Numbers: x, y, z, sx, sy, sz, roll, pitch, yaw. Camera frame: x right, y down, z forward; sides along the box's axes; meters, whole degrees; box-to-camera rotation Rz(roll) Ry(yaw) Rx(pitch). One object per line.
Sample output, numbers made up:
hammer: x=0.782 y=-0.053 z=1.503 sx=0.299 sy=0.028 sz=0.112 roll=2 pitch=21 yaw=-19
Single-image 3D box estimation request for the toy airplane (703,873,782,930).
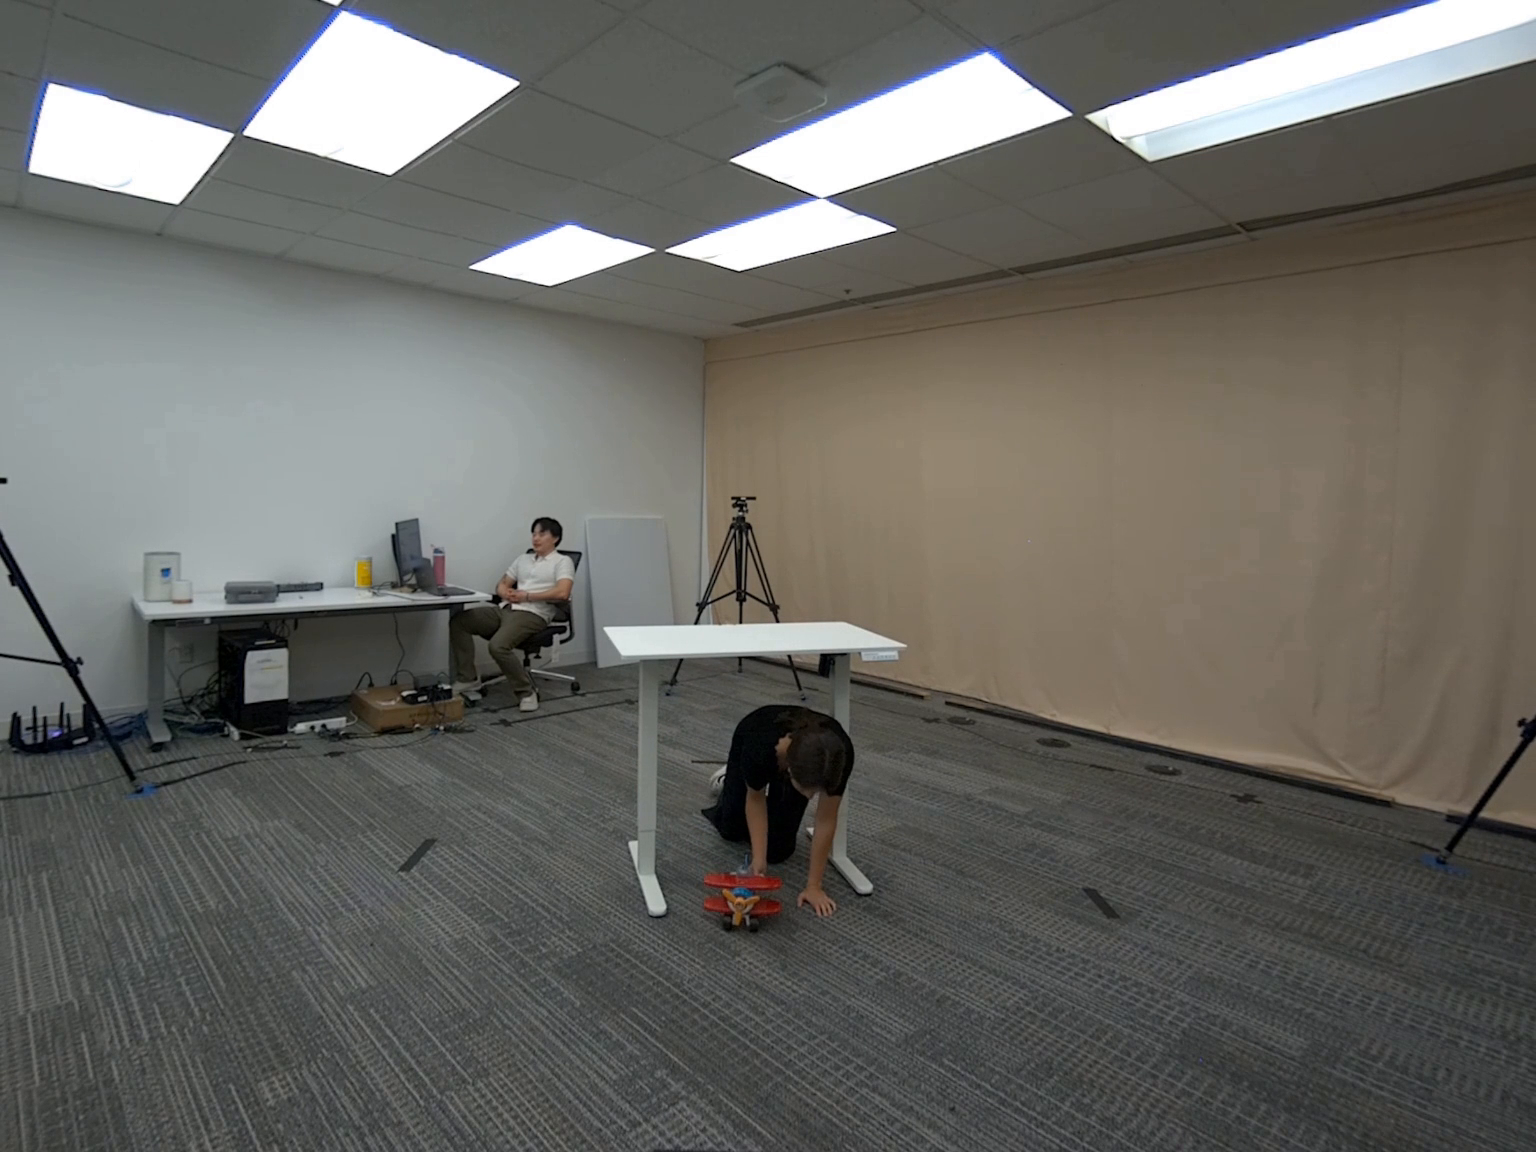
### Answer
toy airplane: x=-0.112 y=1.048 z=2.781 sx=0.247 sy=0.155 sz=0.266 roll=-6 pitch=17 yaw=-23
